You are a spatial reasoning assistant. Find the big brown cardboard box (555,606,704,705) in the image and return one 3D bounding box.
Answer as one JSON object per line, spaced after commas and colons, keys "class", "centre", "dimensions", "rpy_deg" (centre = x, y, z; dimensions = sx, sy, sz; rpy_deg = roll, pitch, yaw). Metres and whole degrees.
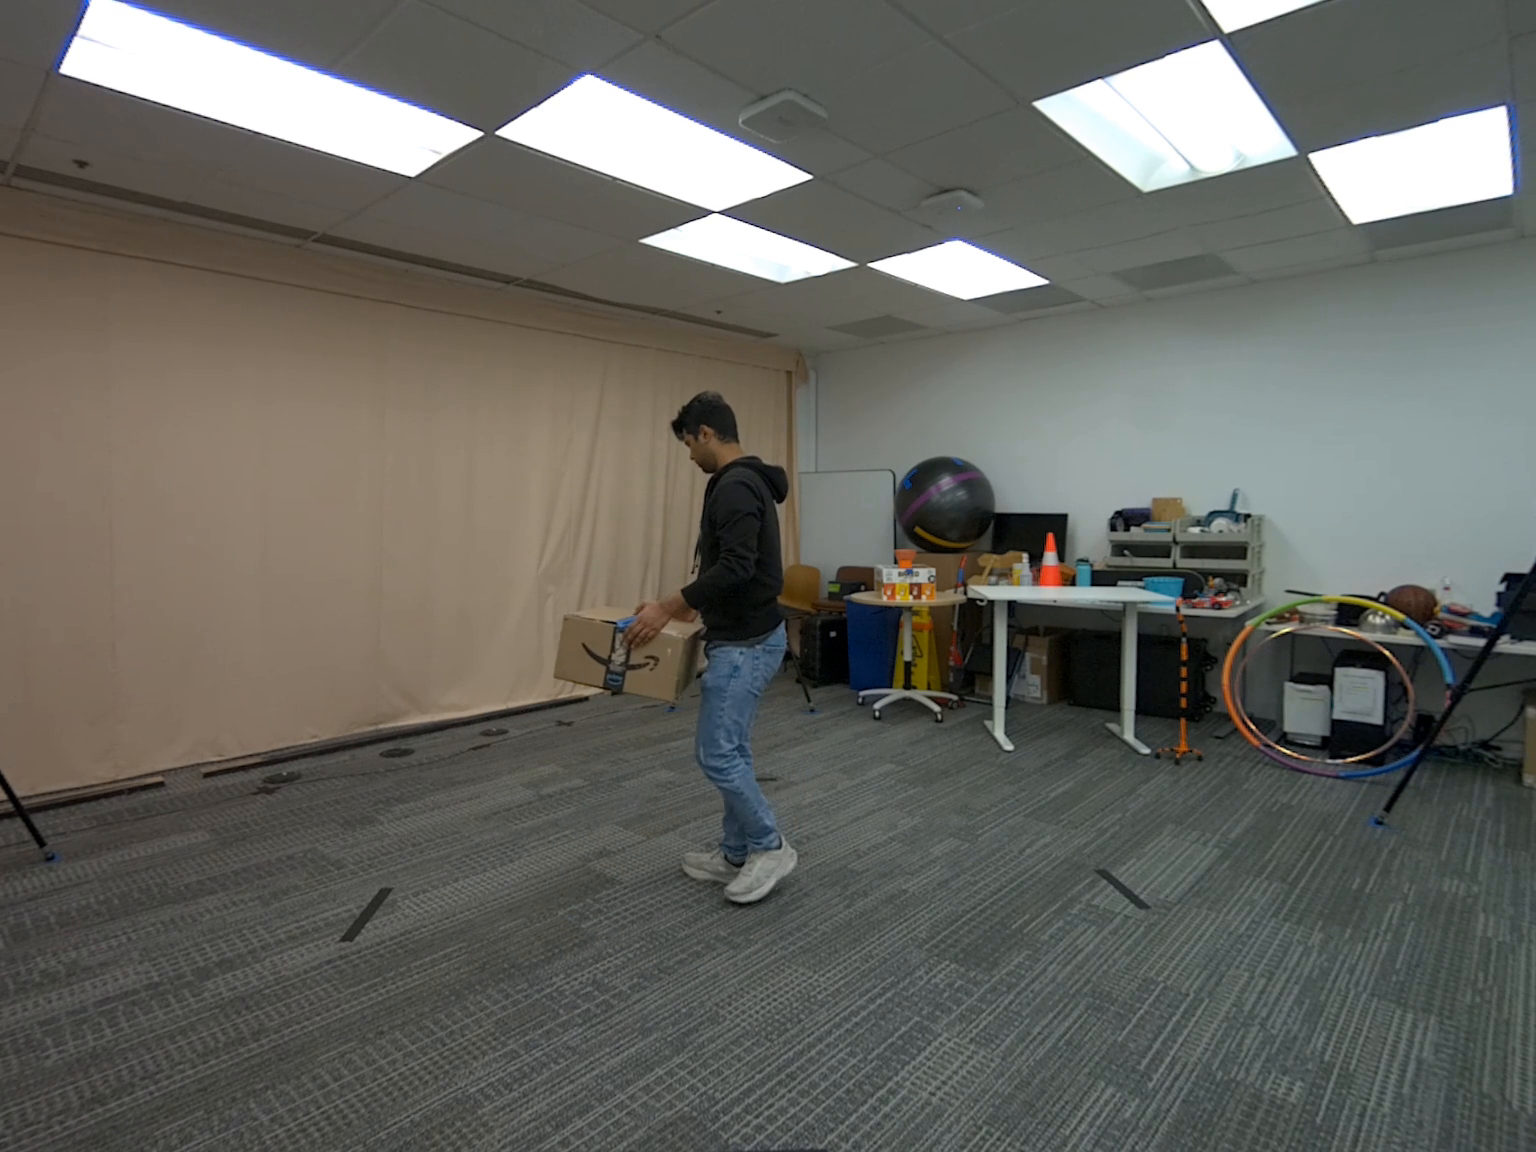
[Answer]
{"class": "big brown cardboard box", "centre": [-0.469, 0.267, 3.057], "dimensions": [0.419, 0.233, 0.586], "rpy_deg": [9, 0, 3]}
